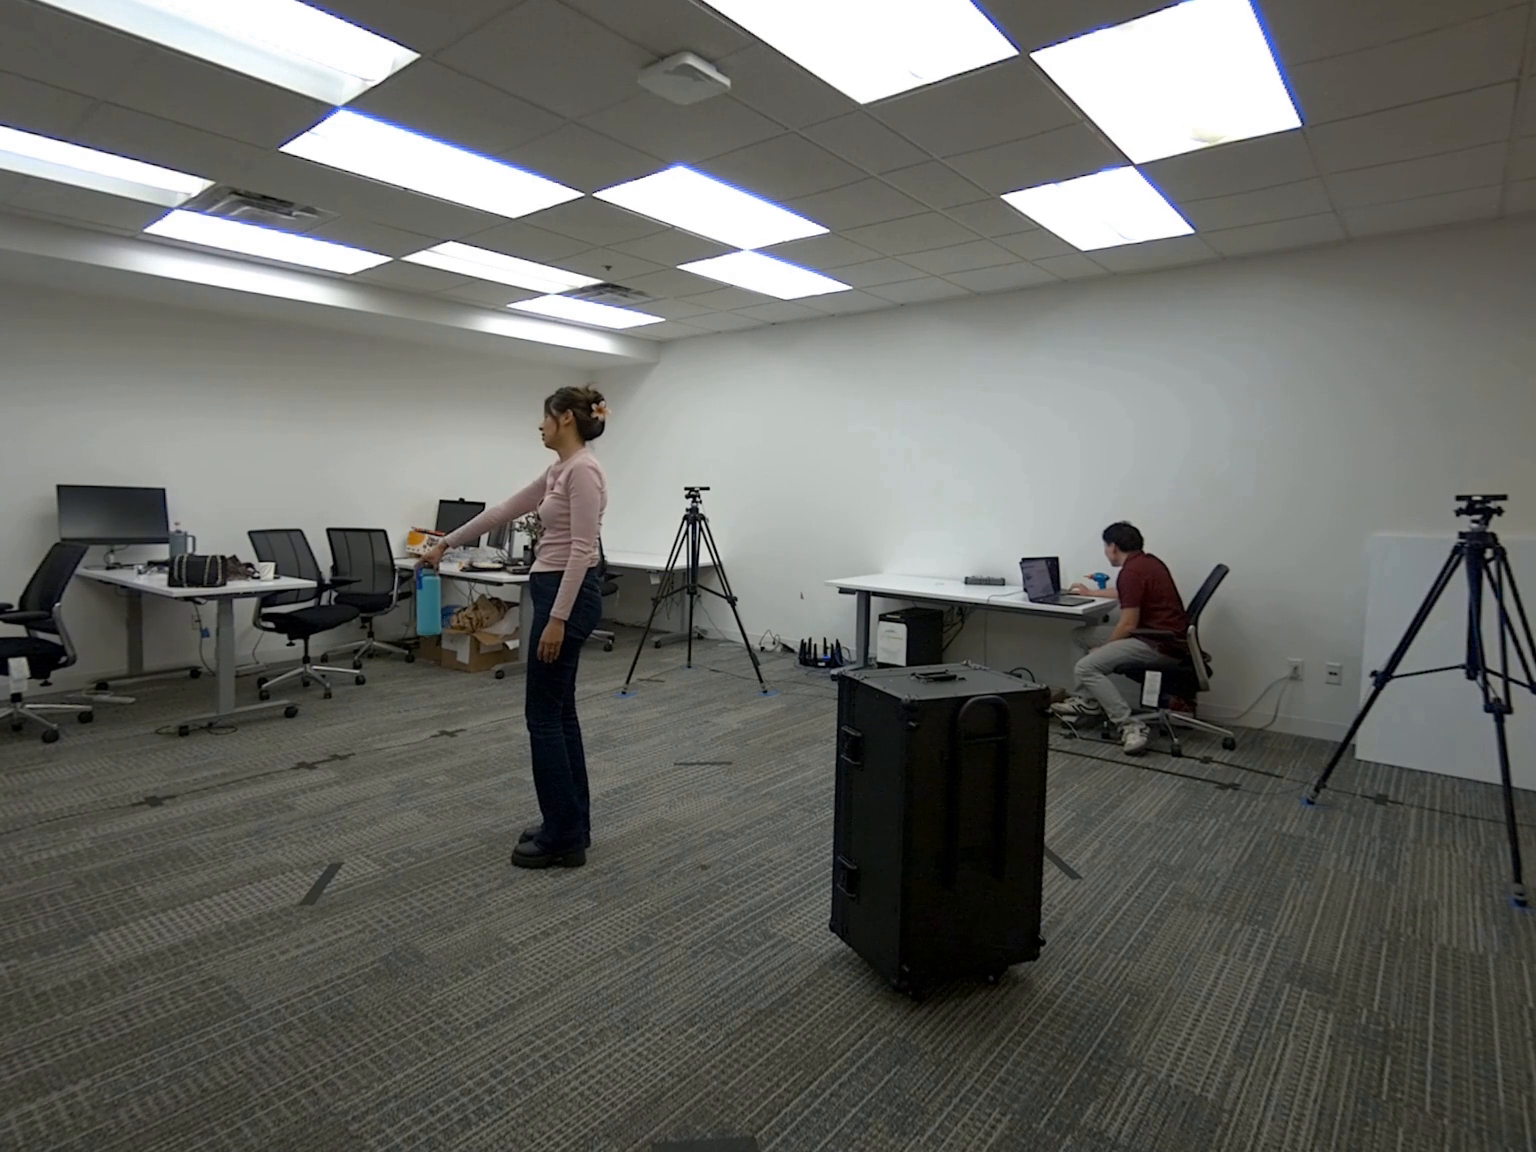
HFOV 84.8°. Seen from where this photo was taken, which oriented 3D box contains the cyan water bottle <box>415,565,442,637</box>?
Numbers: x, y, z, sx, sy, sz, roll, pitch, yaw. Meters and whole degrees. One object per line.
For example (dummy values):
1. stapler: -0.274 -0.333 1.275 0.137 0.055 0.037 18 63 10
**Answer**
1. cyan water bottle: -1.351 0.083 3.329 0.092 0.283 0.092 -1 2 -2
